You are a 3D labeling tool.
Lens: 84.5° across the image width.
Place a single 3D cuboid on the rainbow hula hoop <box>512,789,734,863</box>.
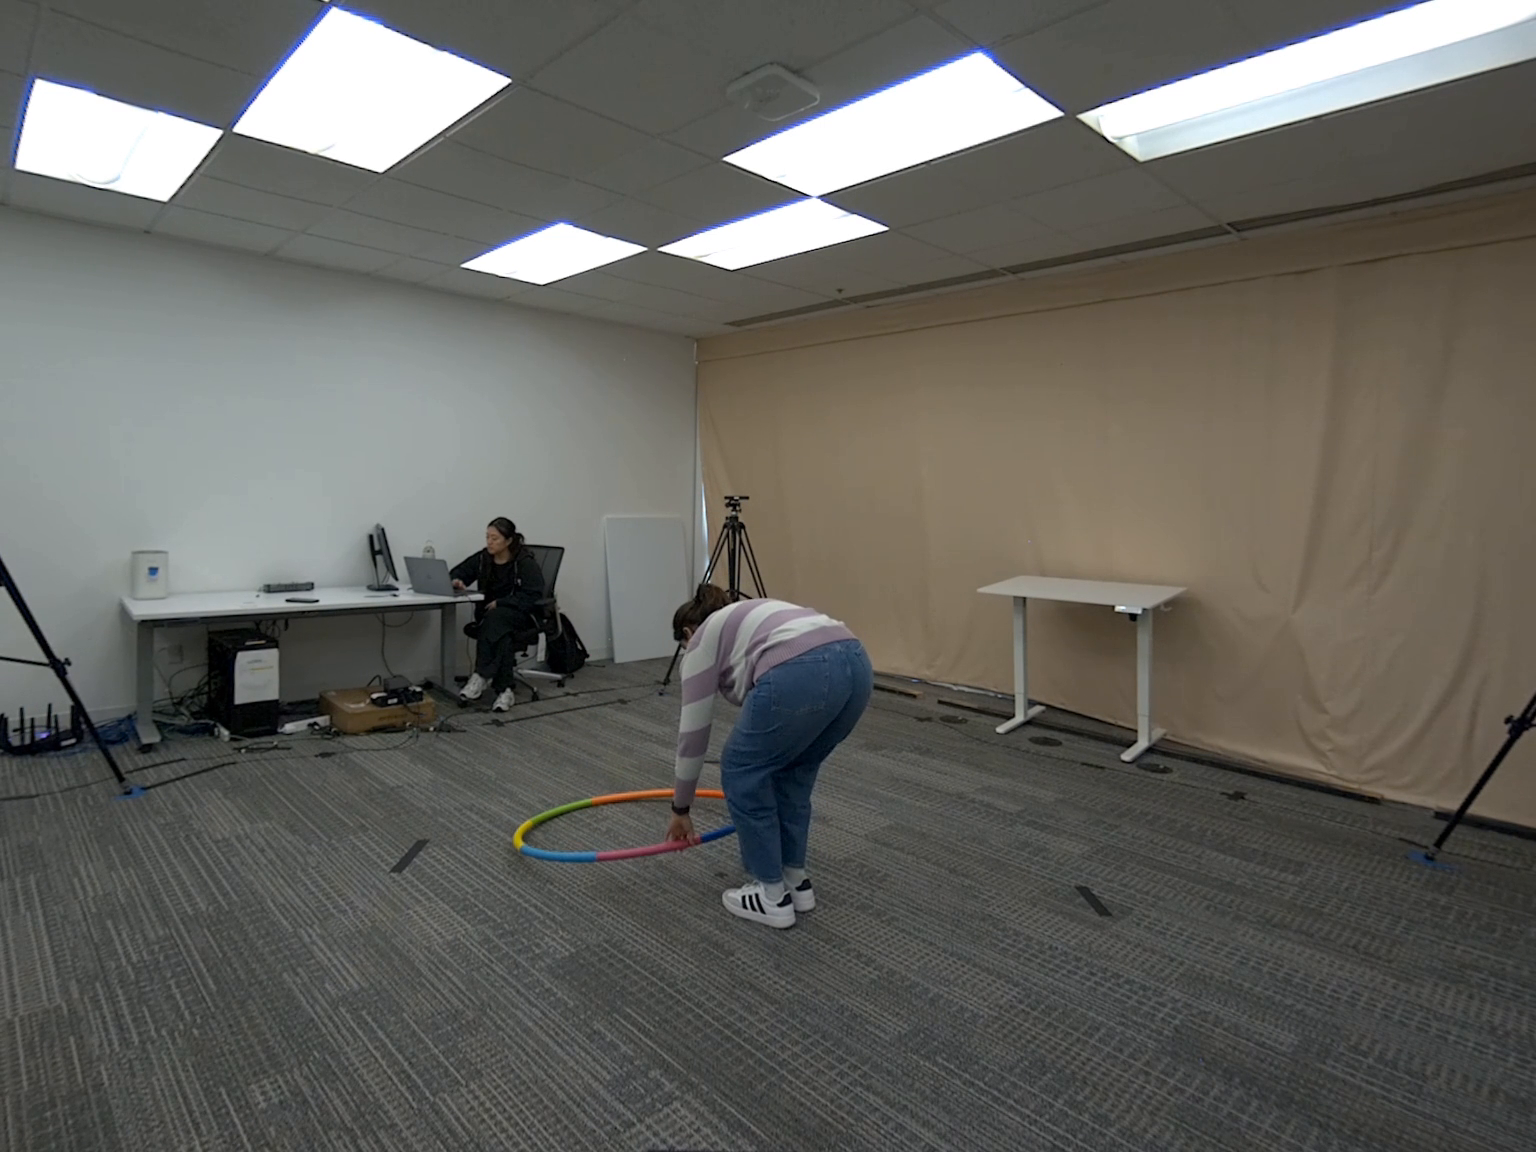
[{"bbox_3d":[-0.518,0.966,3.365,0.978,0.035,0.977,-5,-2,-2],"label":"rainbow hula hoop"}]
